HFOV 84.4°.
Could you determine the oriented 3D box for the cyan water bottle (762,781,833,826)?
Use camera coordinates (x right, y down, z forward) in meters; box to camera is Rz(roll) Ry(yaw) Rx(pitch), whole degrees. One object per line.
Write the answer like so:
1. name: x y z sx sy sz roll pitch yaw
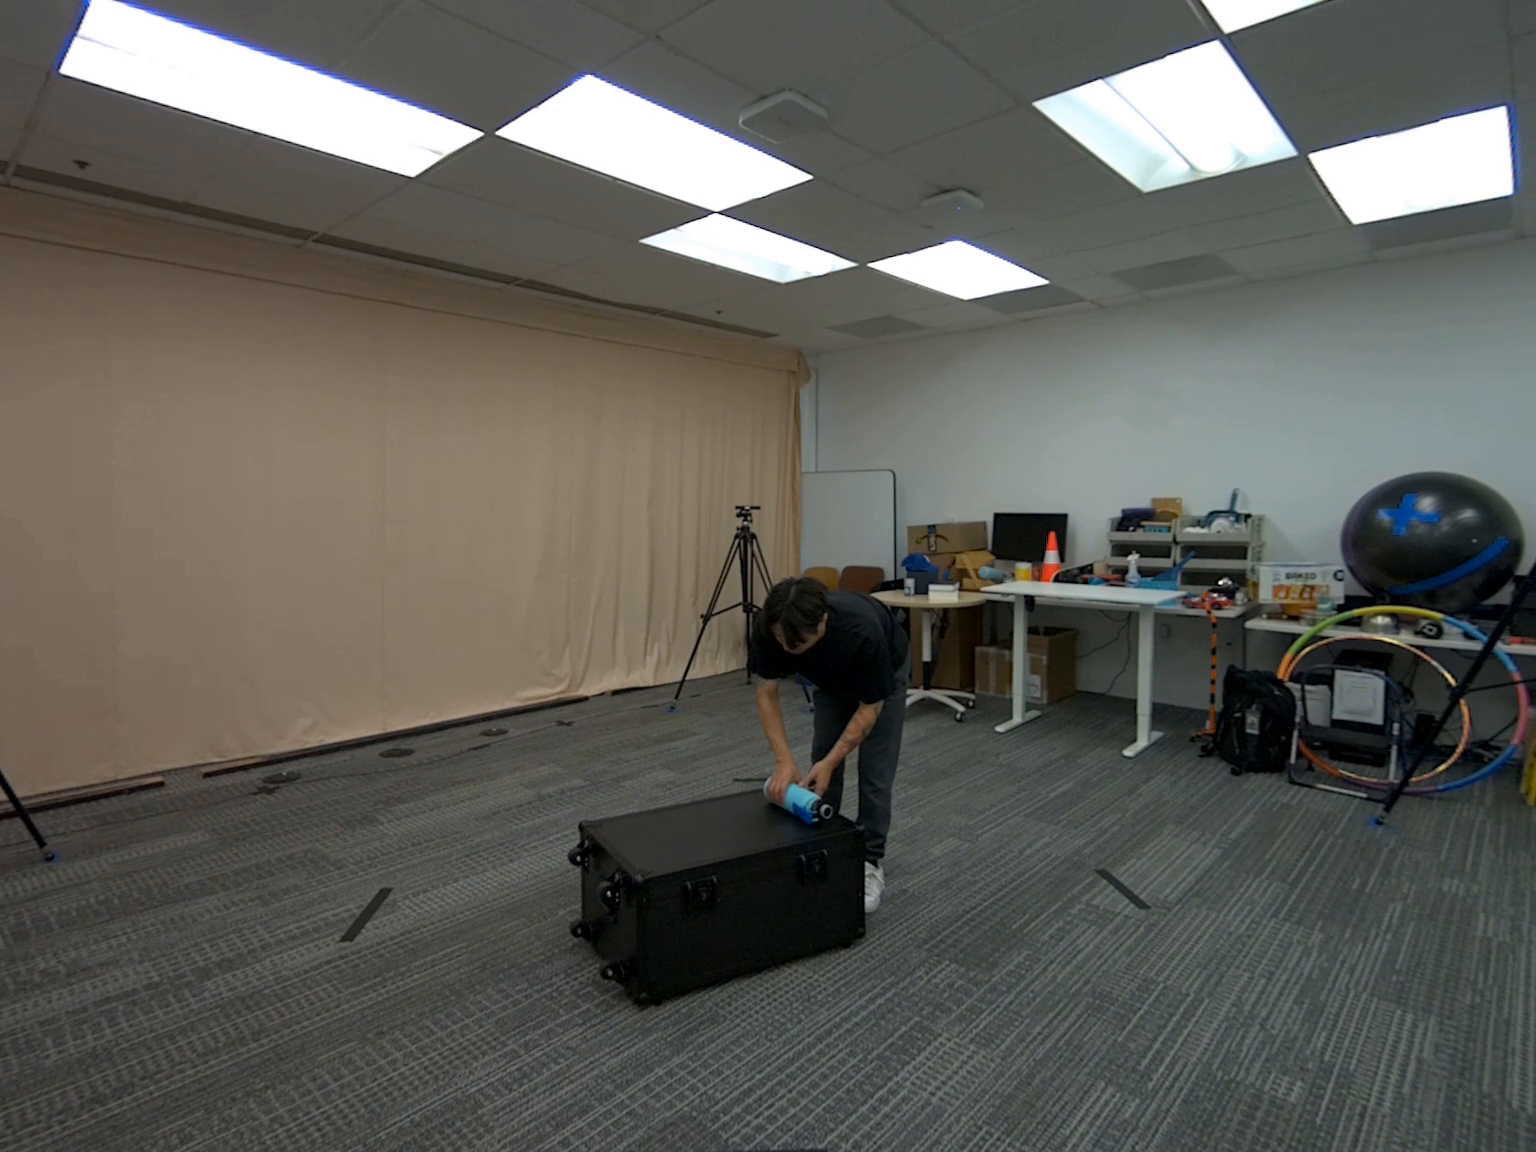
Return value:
1. cyan water bottle: 0.097 0.739 2.776 0.090 0.092 0.292 -2 5 -32
